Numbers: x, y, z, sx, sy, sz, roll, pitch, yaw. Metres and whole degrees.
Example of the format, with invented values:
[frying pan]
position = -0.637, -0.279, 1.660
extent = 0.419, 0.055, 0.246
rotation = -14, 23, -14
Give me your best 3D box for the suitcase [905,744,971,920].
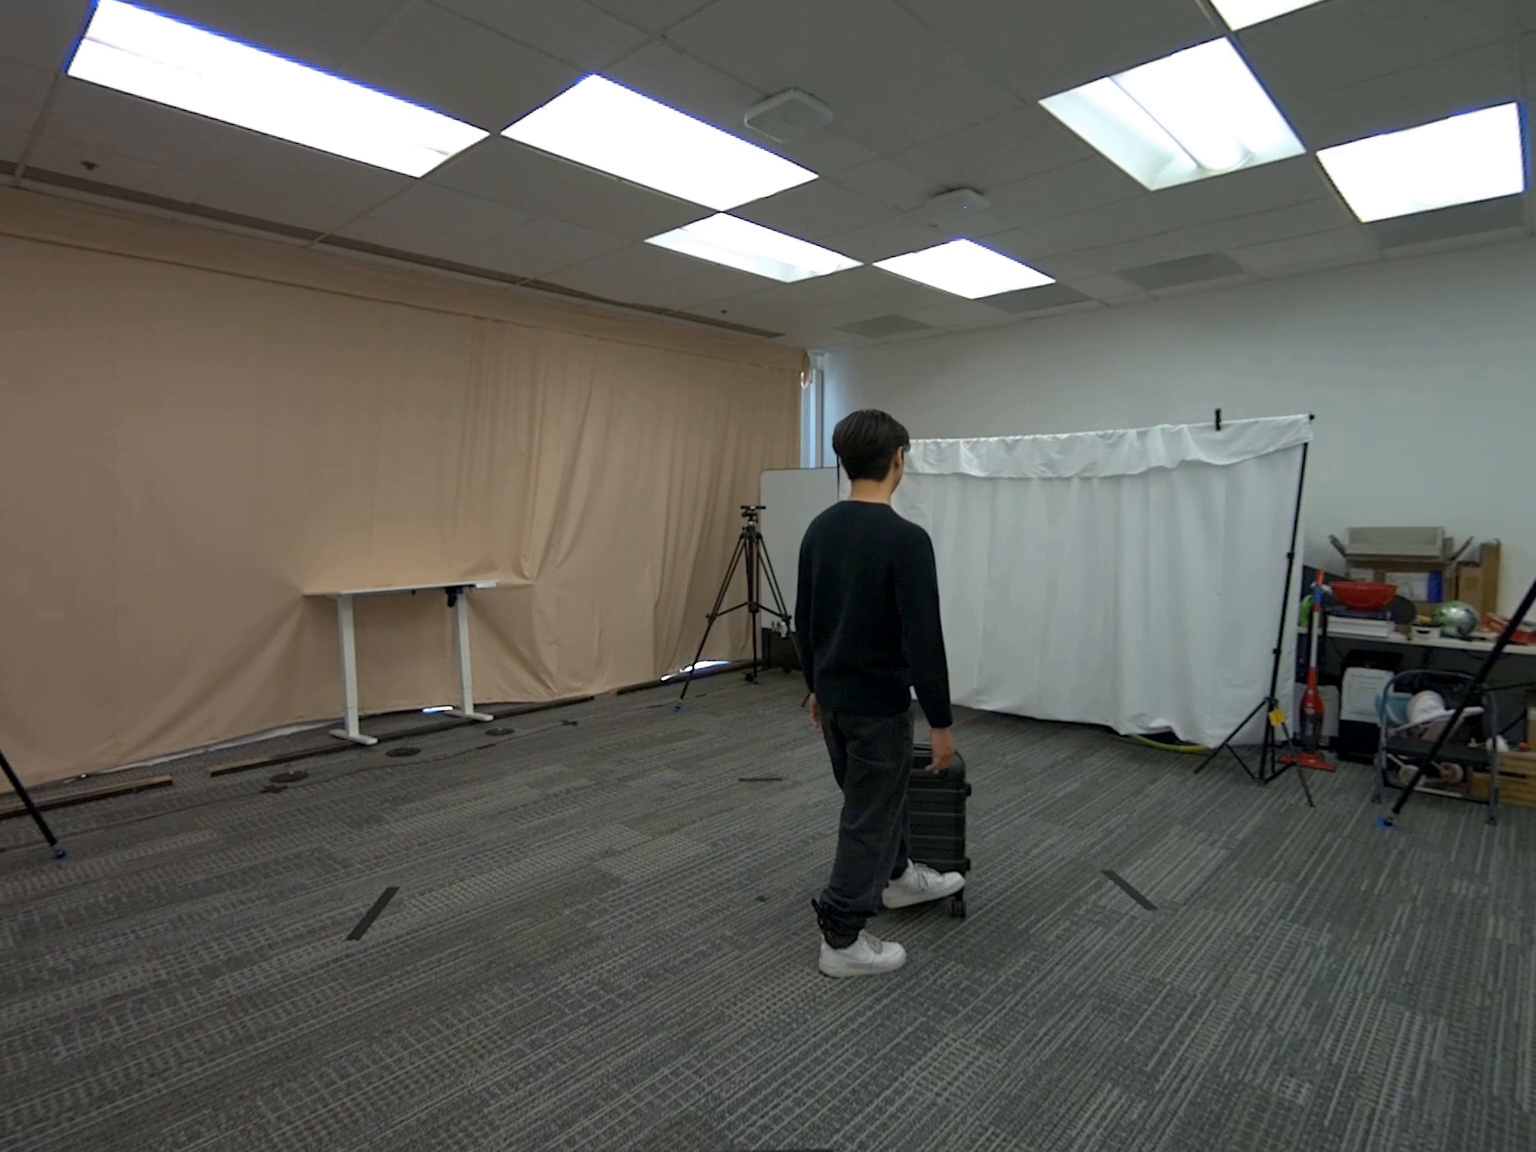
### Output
[suitcase]
position = 0.520, 0.667, 2.977
extent = 0.387, 0.978, 0.255
rotation = 0, 0, 6
